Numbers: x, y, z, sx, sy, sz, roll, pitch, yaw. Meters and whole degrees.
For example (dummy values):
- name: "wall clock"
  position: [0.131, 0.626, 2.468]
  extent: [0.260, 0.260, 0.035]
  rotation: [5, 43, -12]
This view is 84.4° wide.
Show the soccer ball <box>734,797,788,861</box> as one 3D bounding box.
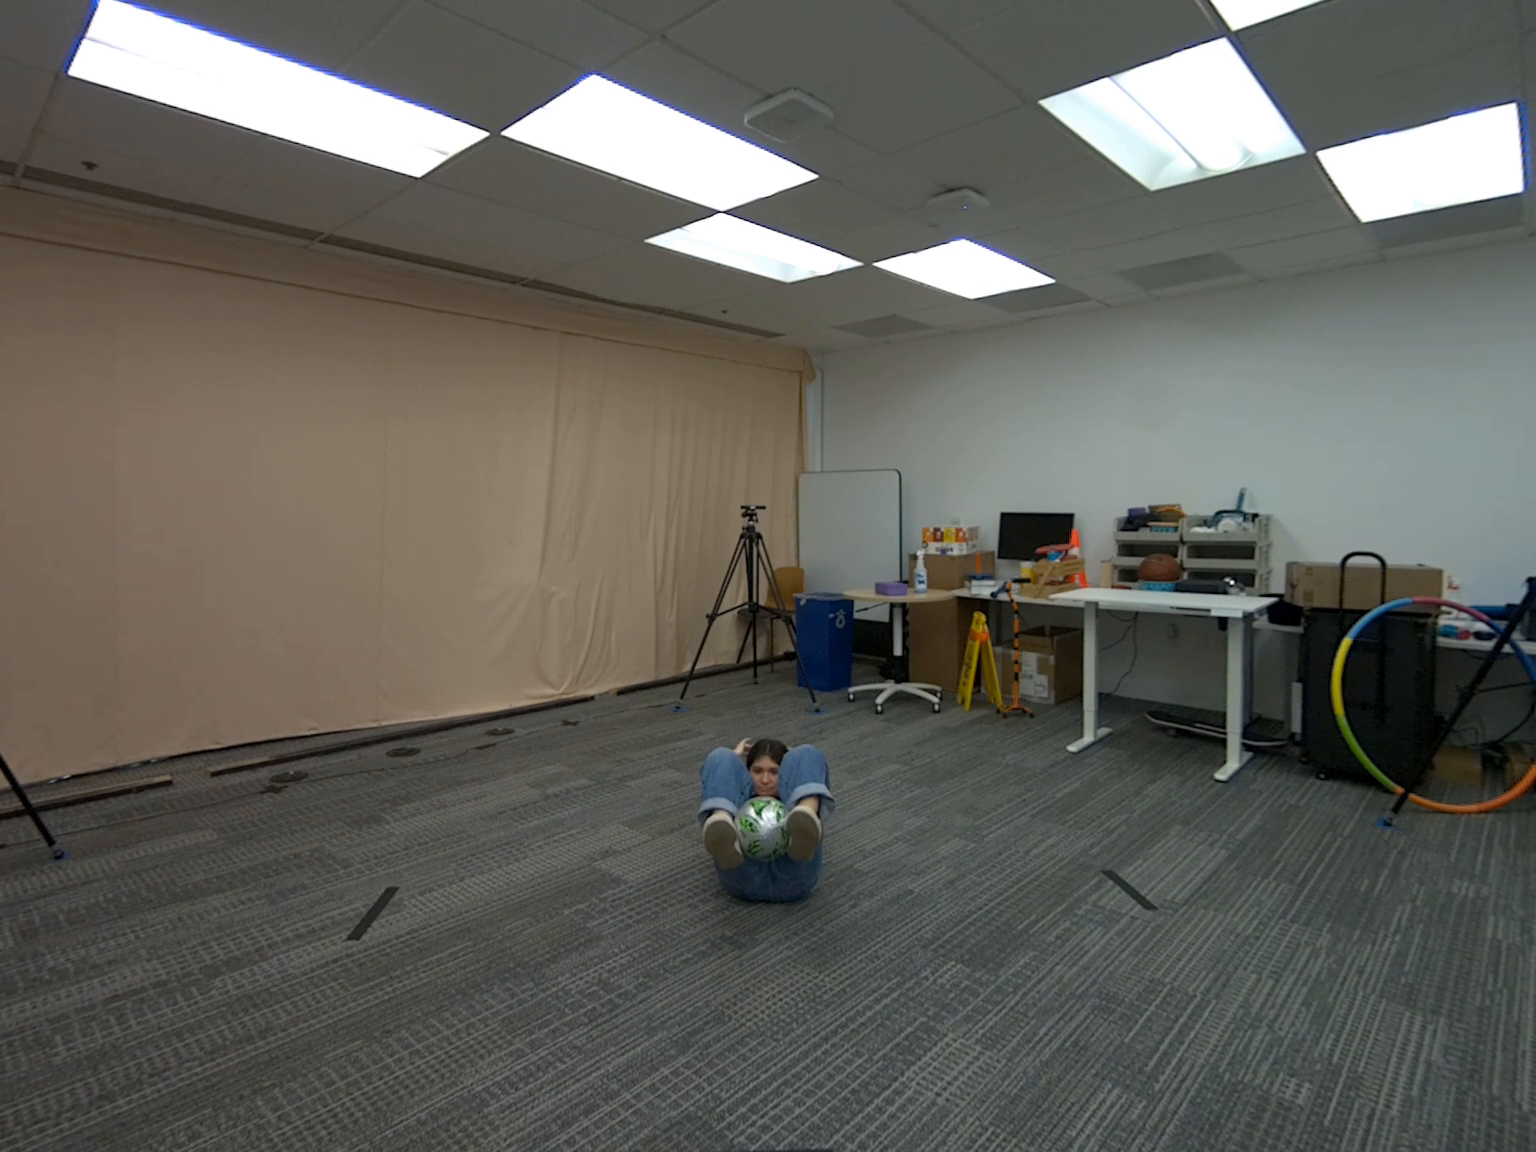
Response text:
- name: "soccer ball"
  position: [0.000, 0.784, 2.574]
  extent: [0.187, 0.187, 0.188]
  rotation: [3, 4, -2]
